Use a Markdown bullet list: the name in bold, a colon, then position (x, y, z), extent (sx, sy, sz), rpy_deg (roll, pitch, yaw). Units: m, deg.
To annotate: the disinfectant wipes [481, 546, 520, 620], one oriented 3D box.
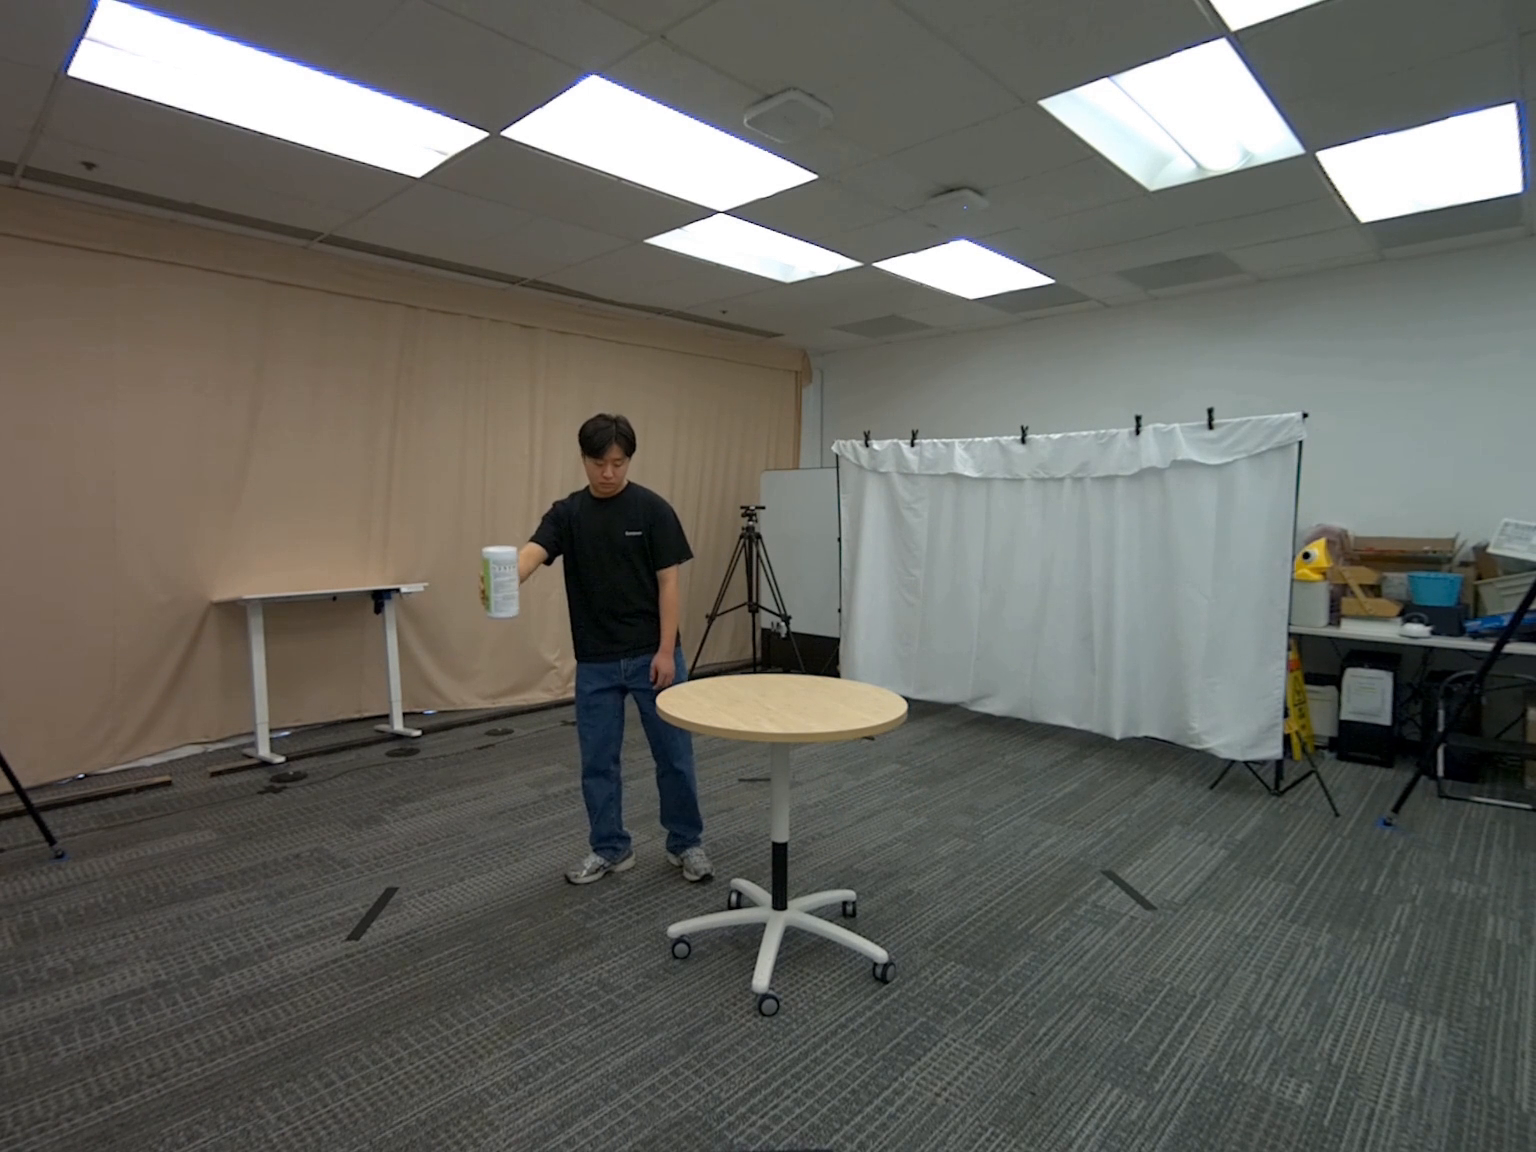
- **disinfectant wipes**: position (-0.833, 0.020, 2.638), extent (0.117, 0.216, 0.118), rpy_deg (1, 9, -2)
